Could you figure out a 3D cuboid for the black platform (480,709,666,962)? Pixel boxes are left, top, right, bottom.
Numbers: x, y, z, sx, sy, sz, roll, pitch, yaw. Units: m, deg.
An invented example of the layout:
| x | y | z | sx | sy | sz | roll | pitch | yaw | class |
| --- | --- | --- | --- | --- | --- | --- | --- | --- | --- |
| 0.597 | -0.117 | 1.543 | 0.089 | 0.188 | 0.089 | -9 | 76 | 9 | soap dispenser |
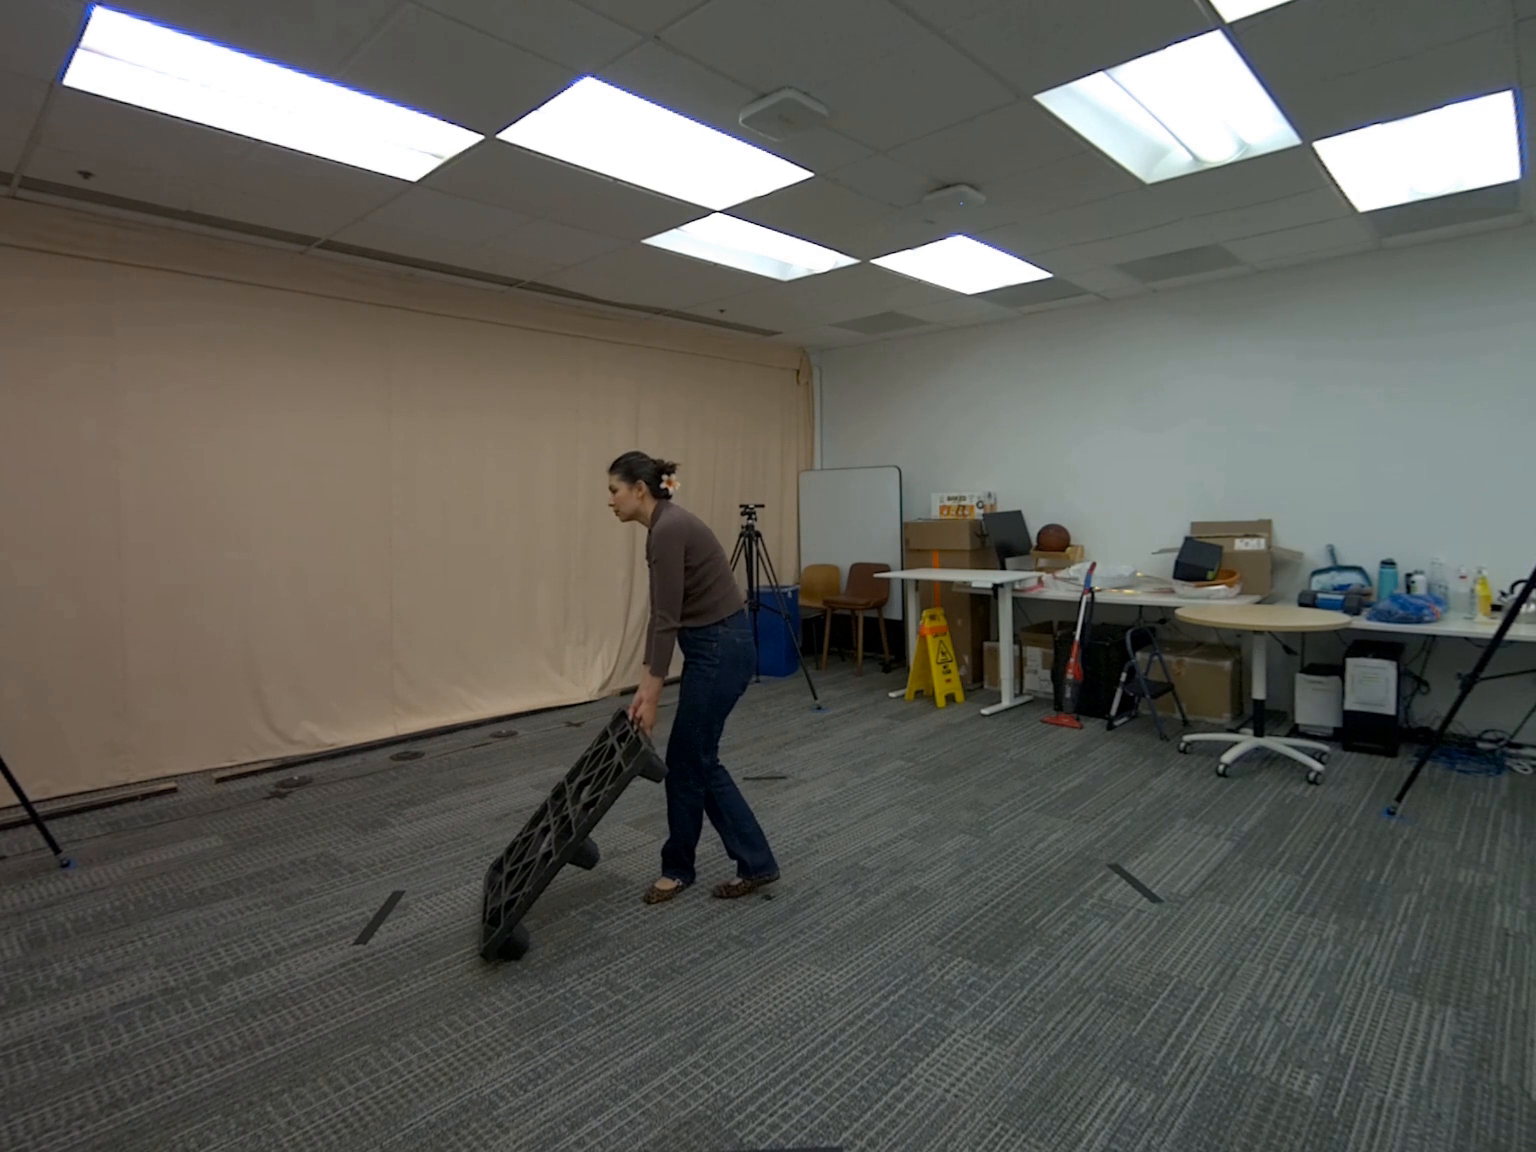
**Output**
| x | y | z | sx | sy | sz | roll | pitch | yaw | class |
| --- | --- | --- | --- | --- | --- | --- | --- | --- | --- |
| -0.655 | 0.843 | 2.846 | 0.141 | 0.804 | 0.617 | 40 | -6 | -17 | black platform |
